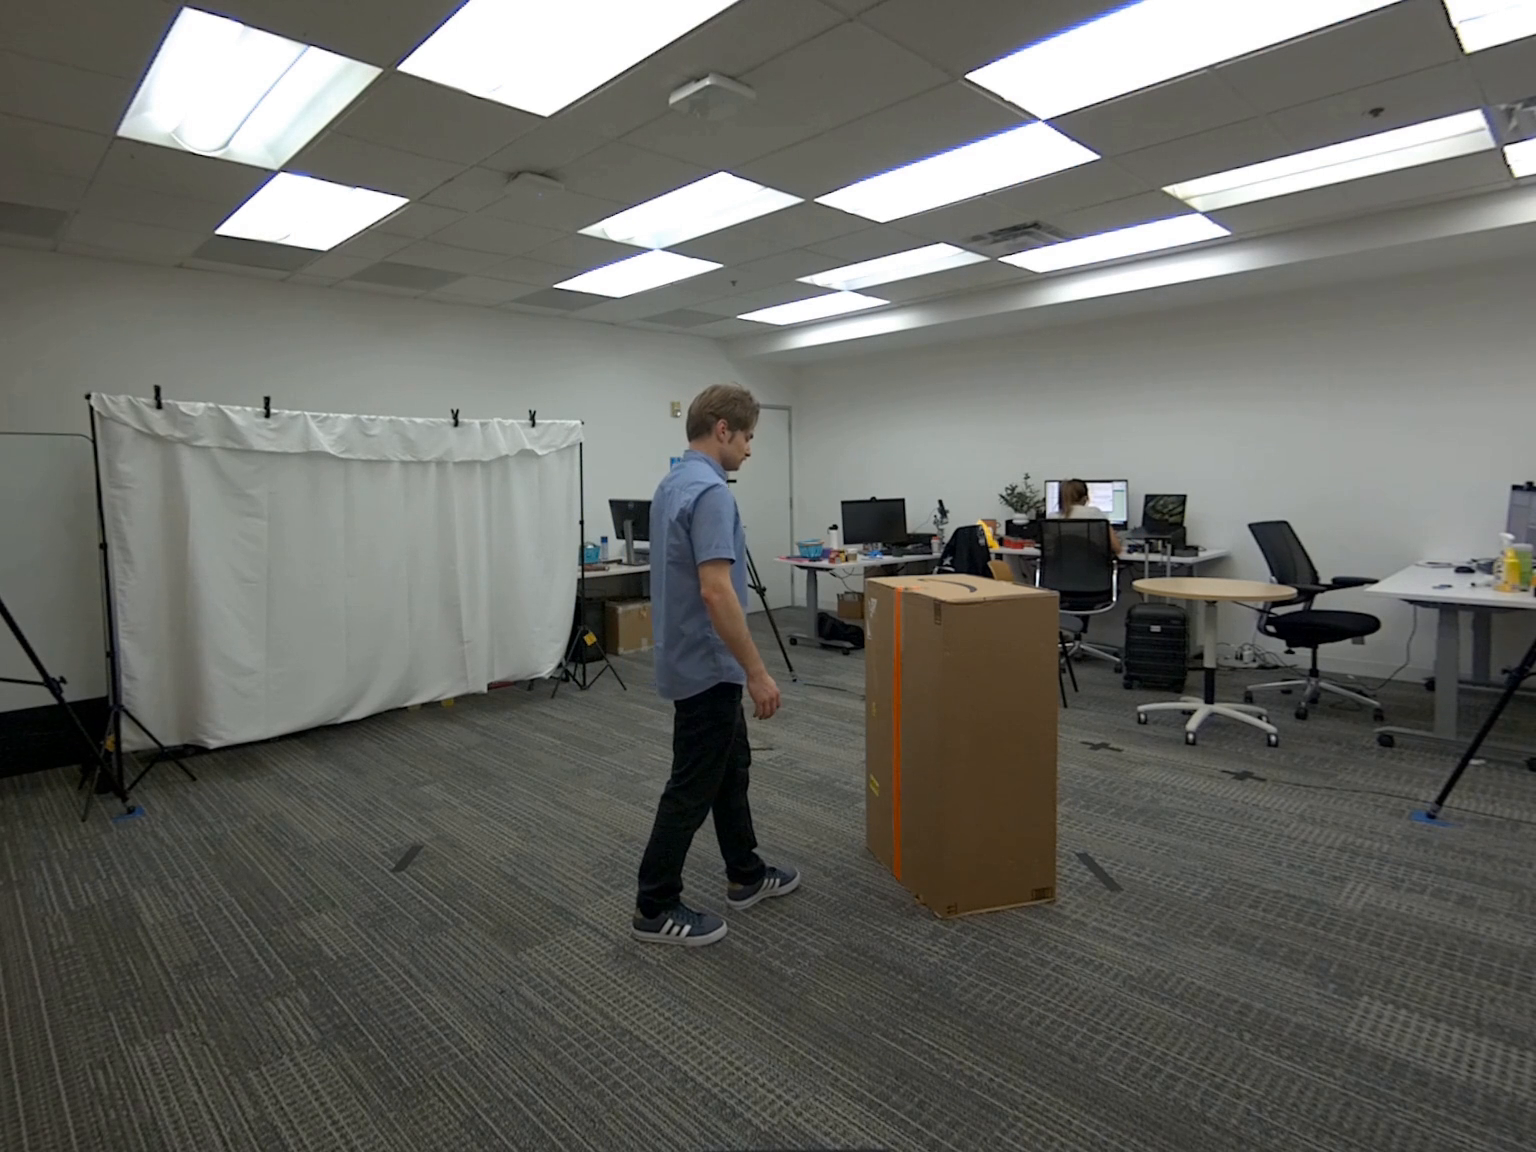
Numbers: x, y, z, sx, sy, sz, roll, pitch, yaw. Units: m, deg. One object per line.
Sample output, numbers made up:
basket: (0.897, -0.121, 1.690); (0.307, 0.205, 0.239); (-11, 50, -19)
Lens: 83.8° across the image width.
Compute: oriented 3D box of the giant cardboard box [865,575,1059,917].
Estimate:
giant cardboard box: (0.653, 0.543, 2.984); (0.440, 1.023, 0.595); (-1, 5, -18)
